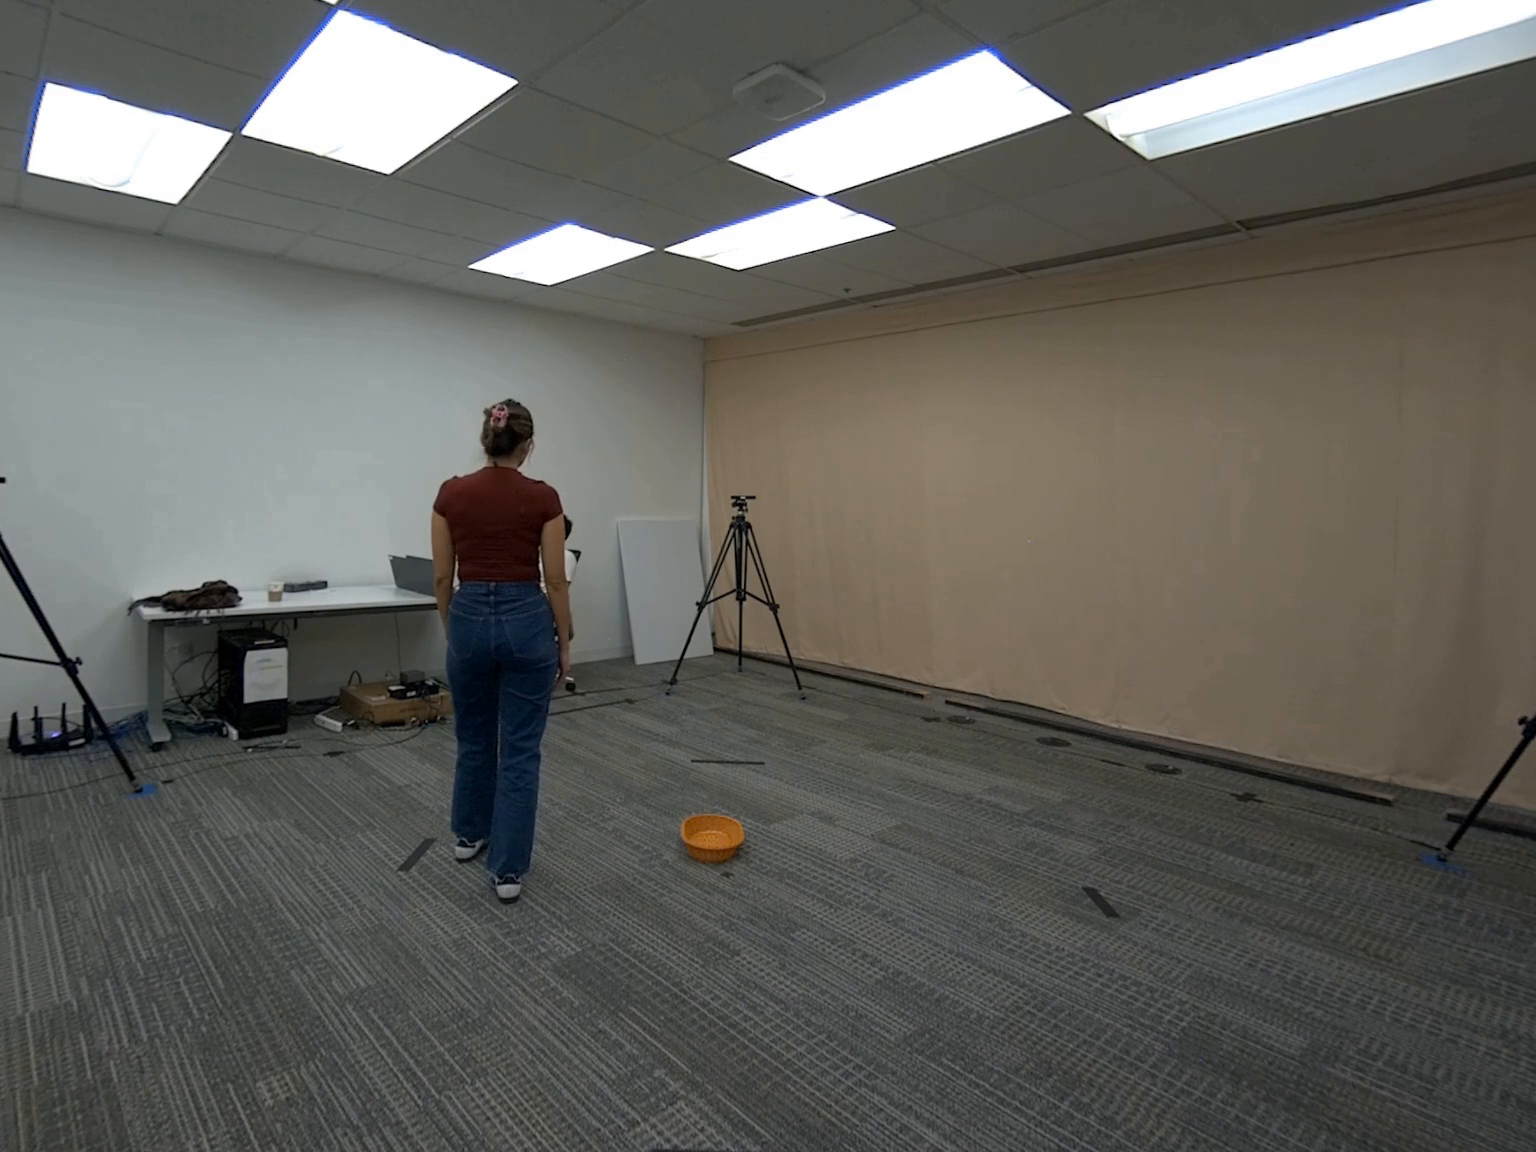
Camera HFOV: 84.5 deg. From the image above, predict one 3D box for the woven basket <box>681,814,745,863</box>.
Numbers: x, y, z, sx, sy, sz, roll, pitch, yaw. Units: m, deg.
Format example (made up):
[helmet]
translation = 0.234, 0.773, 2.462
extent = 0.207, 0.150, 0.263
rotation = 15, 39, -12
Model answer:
[woven basket]
translation = -0.233, 1.043, 3.335
extent = 0.252, 0.073, 0.352
rotation = 2, 5, -3
